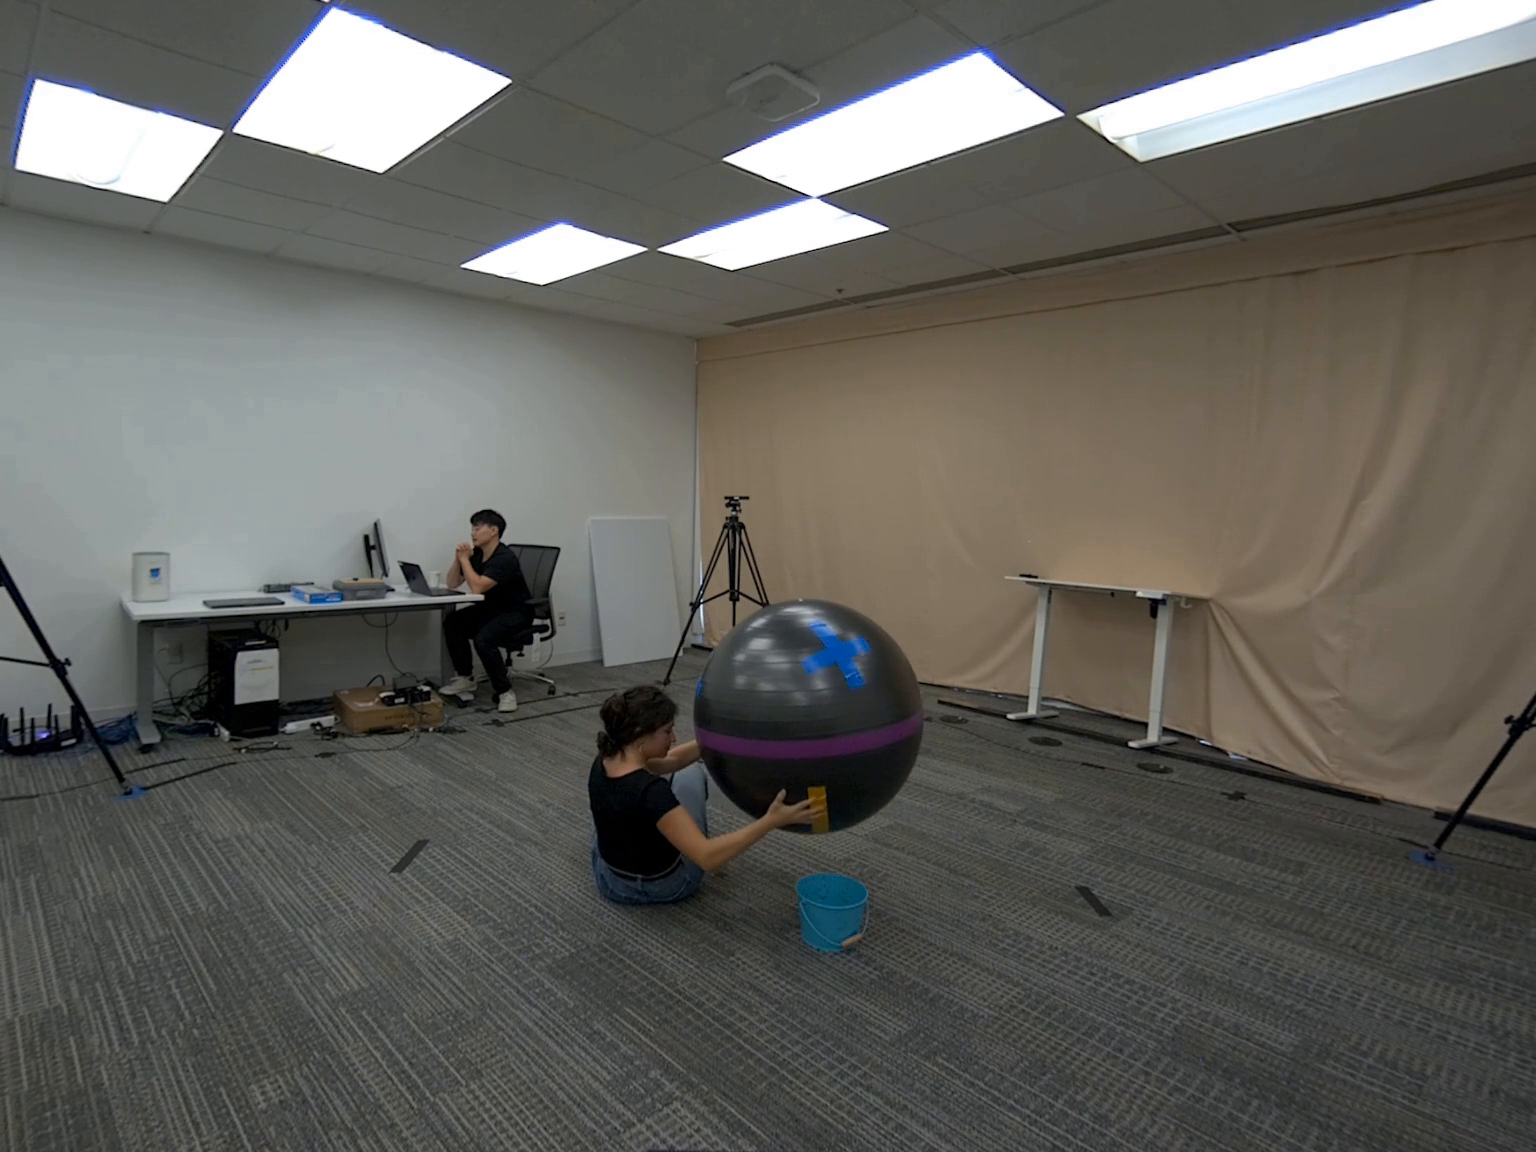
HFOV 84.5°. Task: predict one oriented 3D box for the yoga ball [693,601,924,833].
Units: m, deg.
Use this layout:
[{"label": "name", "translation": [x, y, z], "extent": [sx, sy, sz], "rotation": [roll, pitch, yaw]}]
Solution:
[{"label": "yoga ball", "translation": [0.125, 0.462, 2.802], "extent": [0.757, 0.756, 0.761], "rotation": [1, 4, -1]}]
